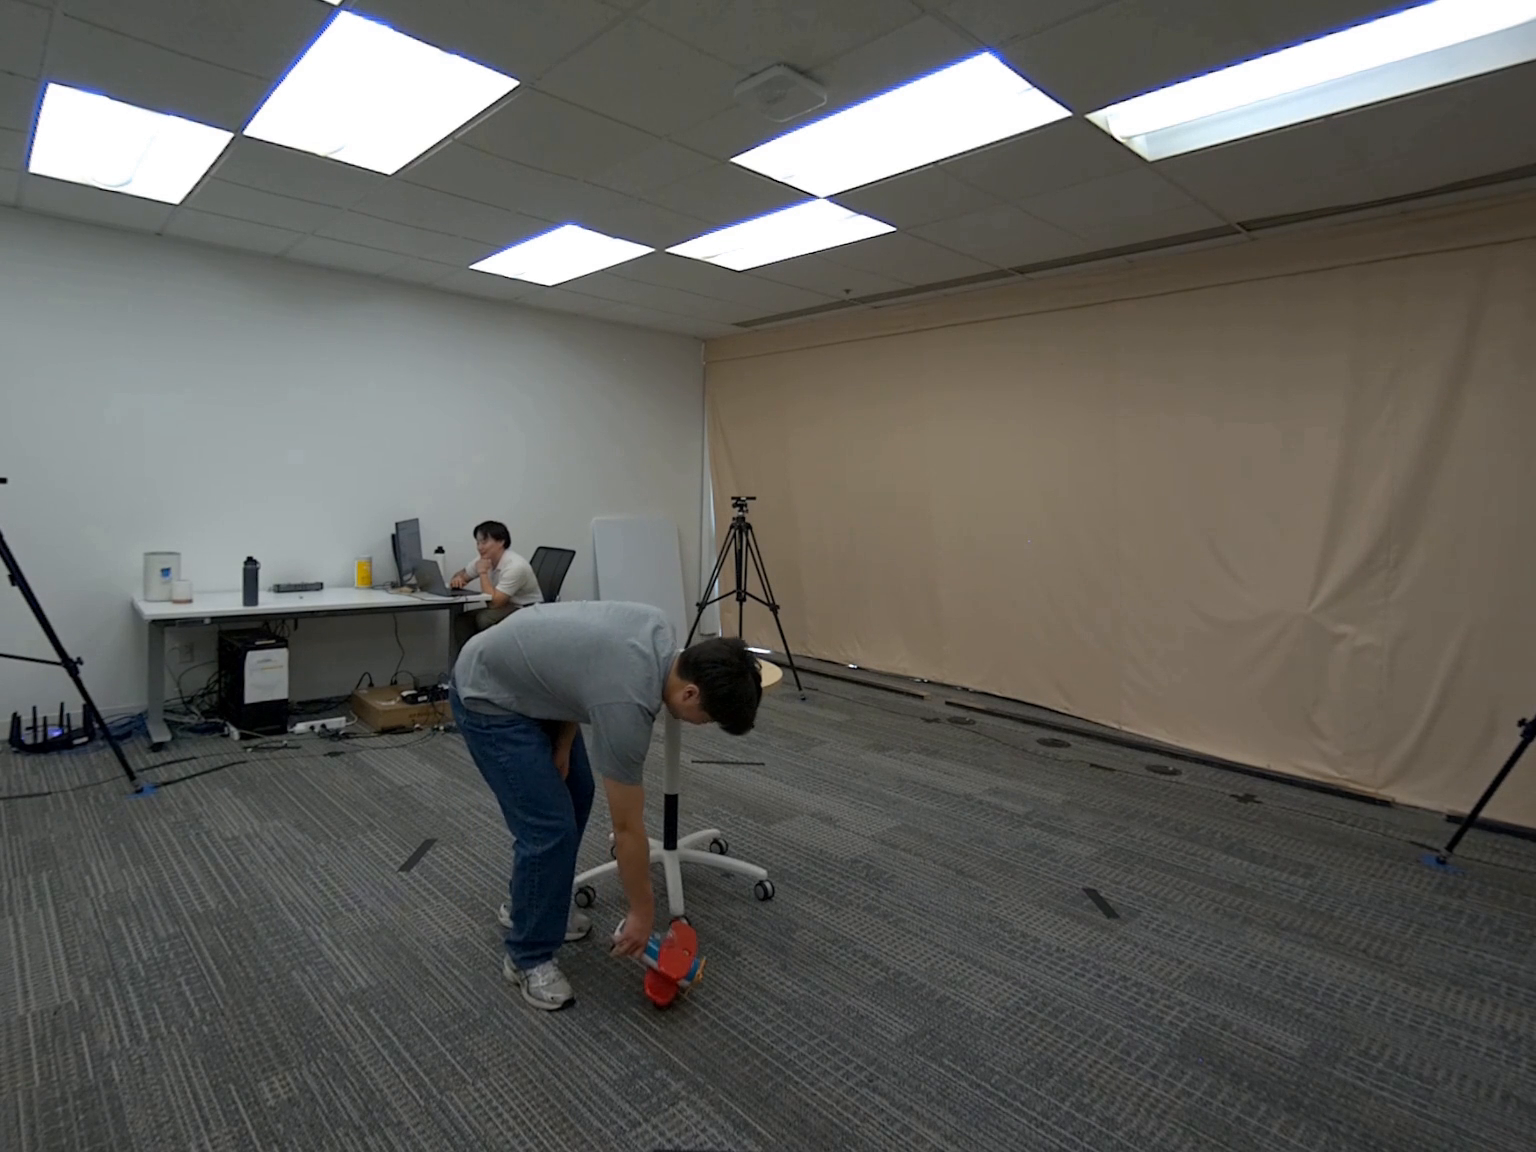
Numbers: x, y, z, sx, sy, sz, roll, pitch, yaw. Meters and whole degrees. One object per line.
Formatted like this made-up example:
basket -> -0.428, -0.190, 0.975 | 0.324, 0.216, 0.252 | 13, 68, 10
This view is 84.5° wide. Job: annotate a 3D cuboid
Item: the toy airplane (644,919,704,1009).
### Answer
toy airplane -> -0.317, 1.061, 2.306 | 0.253, 0.156, 0.257 | 40, 9, -27
